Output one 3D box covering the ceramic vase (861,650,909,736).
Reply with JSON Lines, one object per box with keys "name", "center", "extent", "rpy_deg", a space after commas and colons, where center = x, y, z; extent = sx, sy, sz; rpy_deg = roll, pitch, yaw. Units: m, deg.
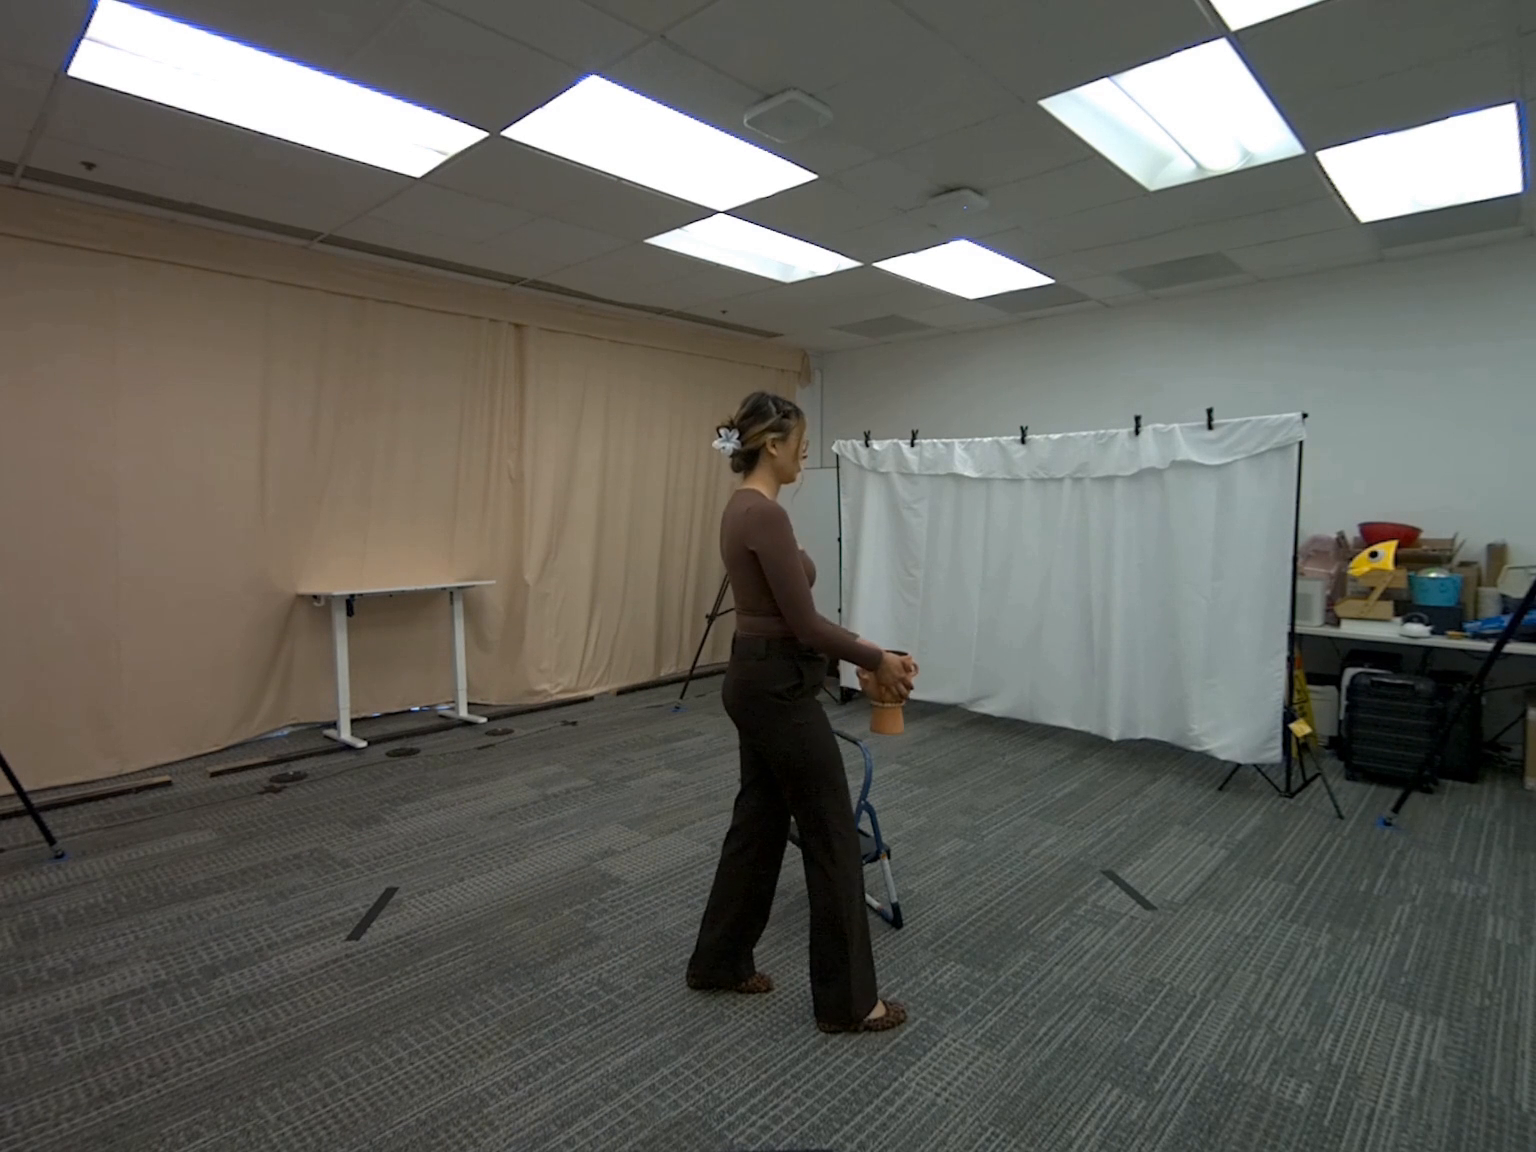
{"name": "ceramic vase", "center": [0.349, 0.327, 2.362], "extent": [0.162, 0.219, 0.132], "rpy_deg": [2, 4, 18]}
